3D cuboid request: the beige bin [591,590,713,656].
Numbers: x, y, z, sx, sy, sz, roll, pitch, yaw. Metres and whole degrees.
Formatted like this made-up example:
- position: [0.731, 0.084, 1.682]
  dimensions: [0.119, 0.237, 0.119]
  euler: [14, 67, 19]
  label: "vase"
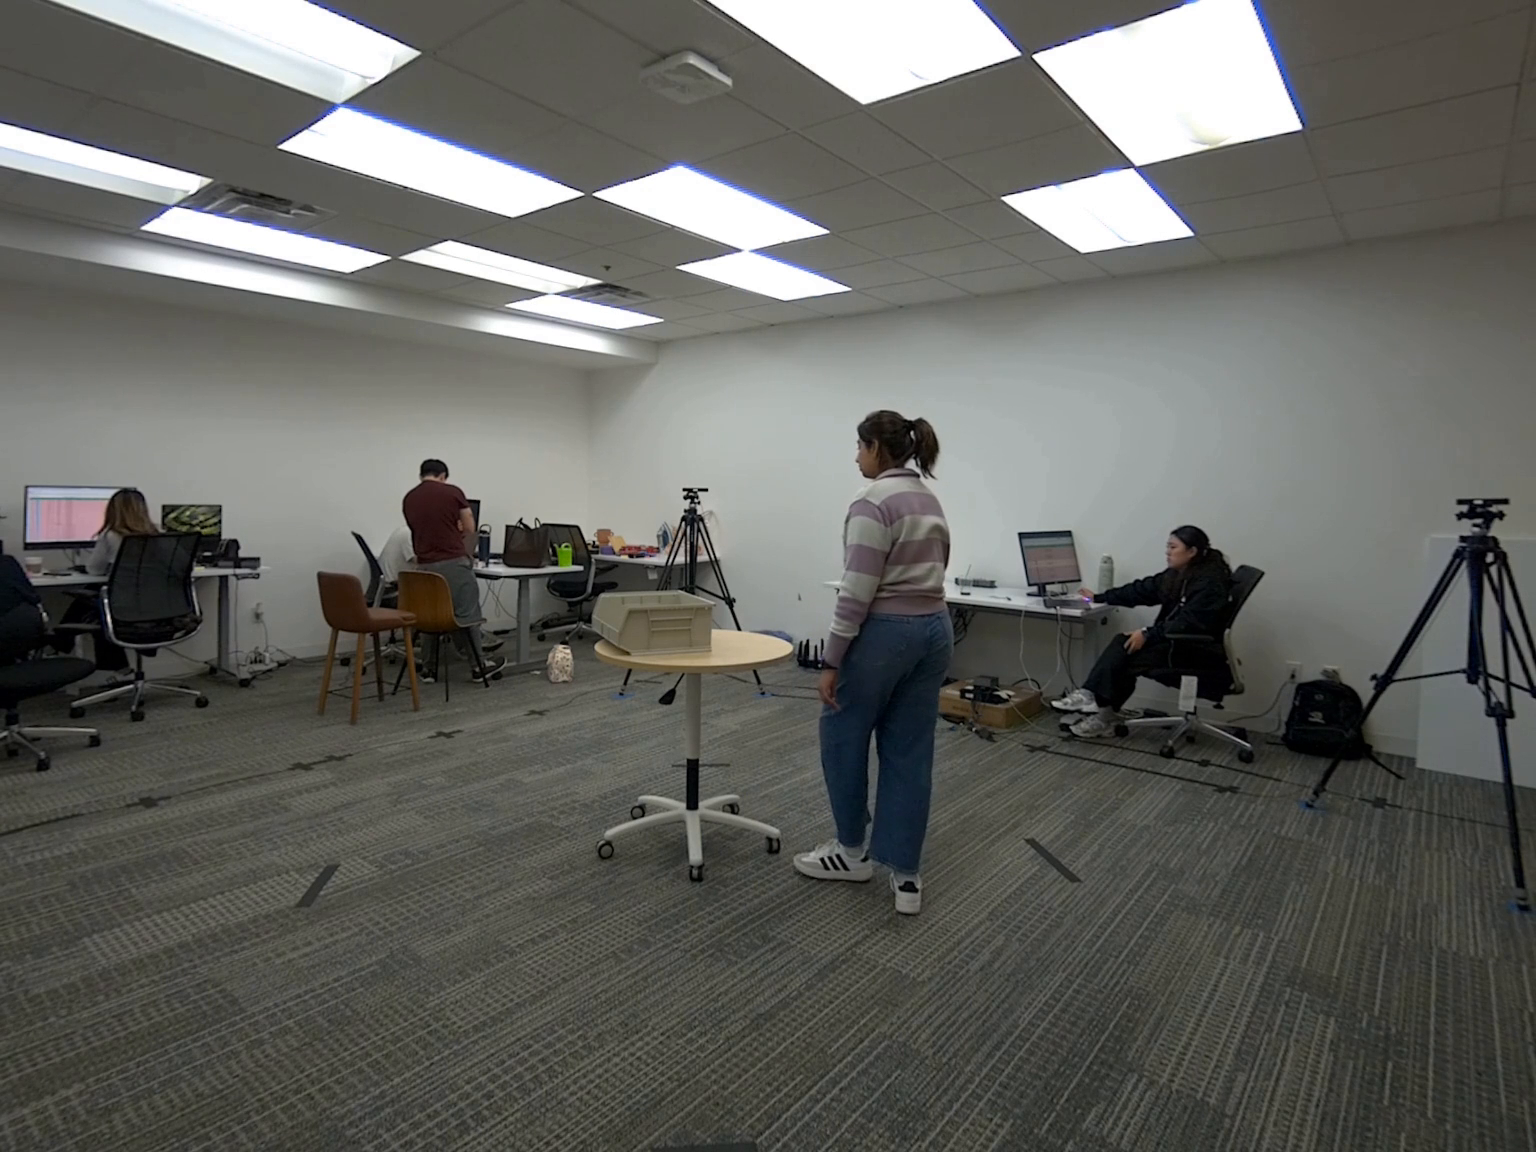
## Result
- position: [-0.468, 0.177, 3.306]
  dimensions: [0.369, 0.188, 0.433]
  euler: [-1, 5, -22]
  label: "beige bin"
